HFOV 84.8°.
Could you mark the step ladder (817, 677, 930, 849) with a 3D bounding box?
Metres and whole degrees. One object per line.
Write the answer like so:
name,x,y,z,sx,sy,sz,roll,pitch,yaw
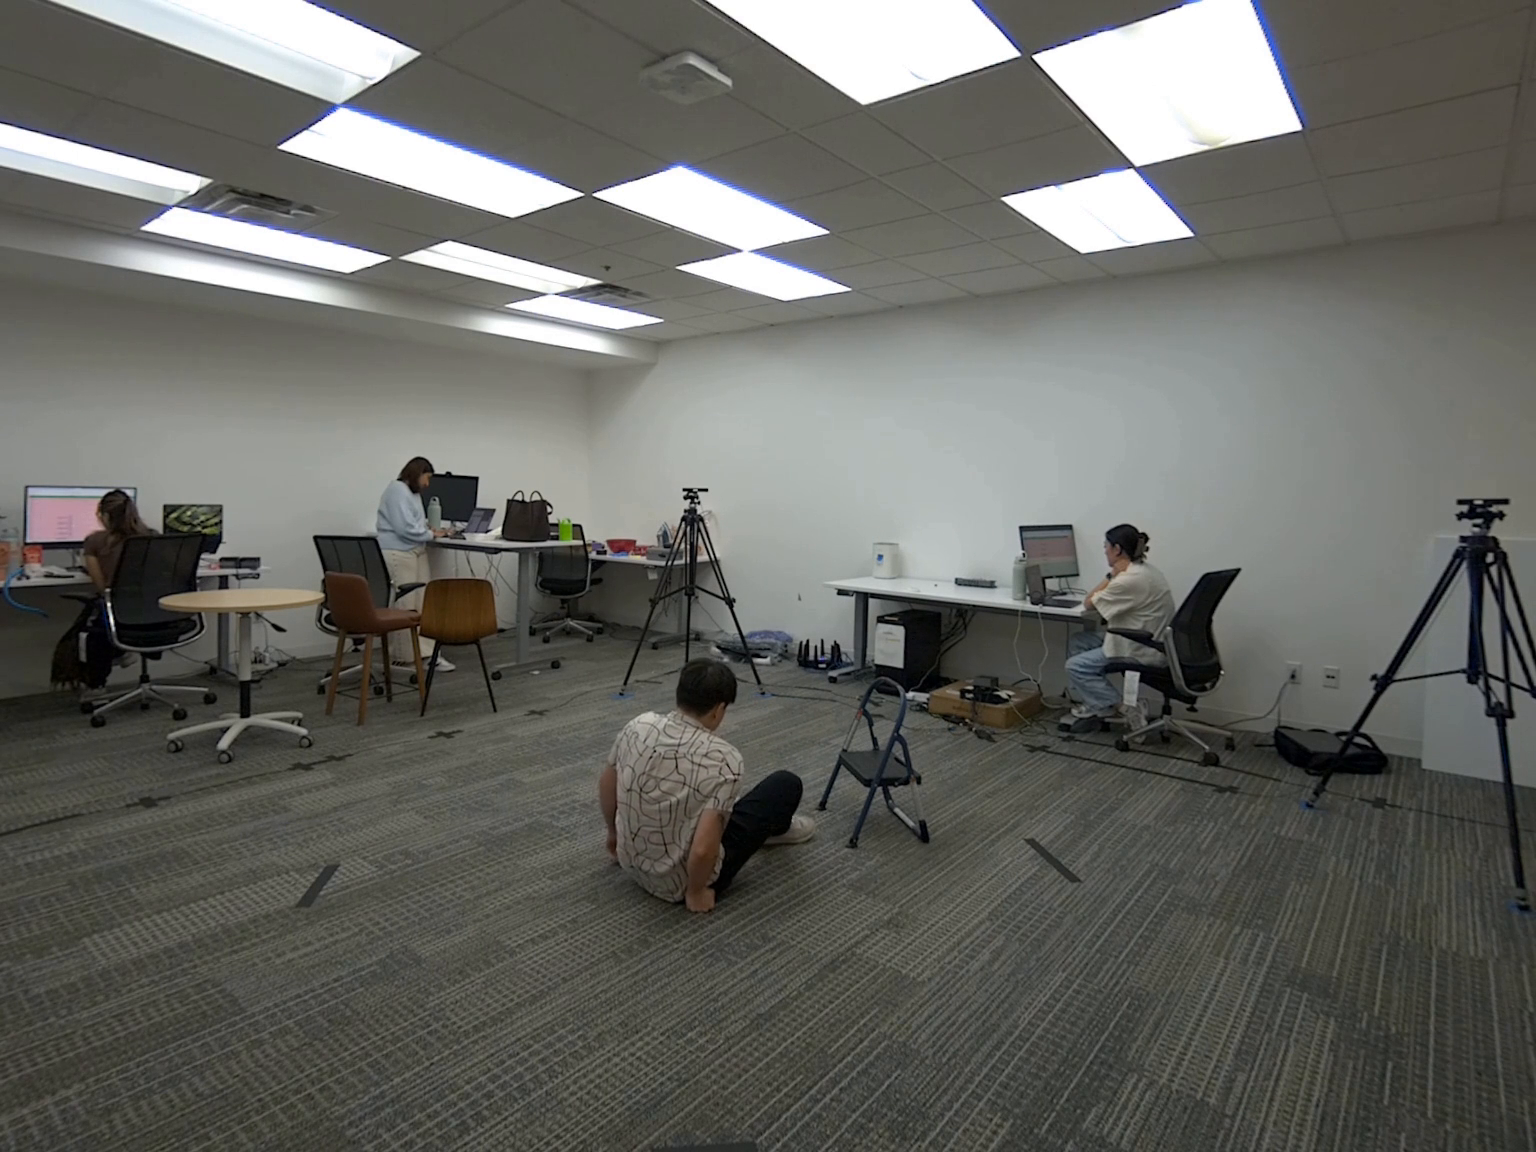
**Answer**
step ladder,0.432,0.739,3.550,0.345,0.604,0.438,0,4,-14
